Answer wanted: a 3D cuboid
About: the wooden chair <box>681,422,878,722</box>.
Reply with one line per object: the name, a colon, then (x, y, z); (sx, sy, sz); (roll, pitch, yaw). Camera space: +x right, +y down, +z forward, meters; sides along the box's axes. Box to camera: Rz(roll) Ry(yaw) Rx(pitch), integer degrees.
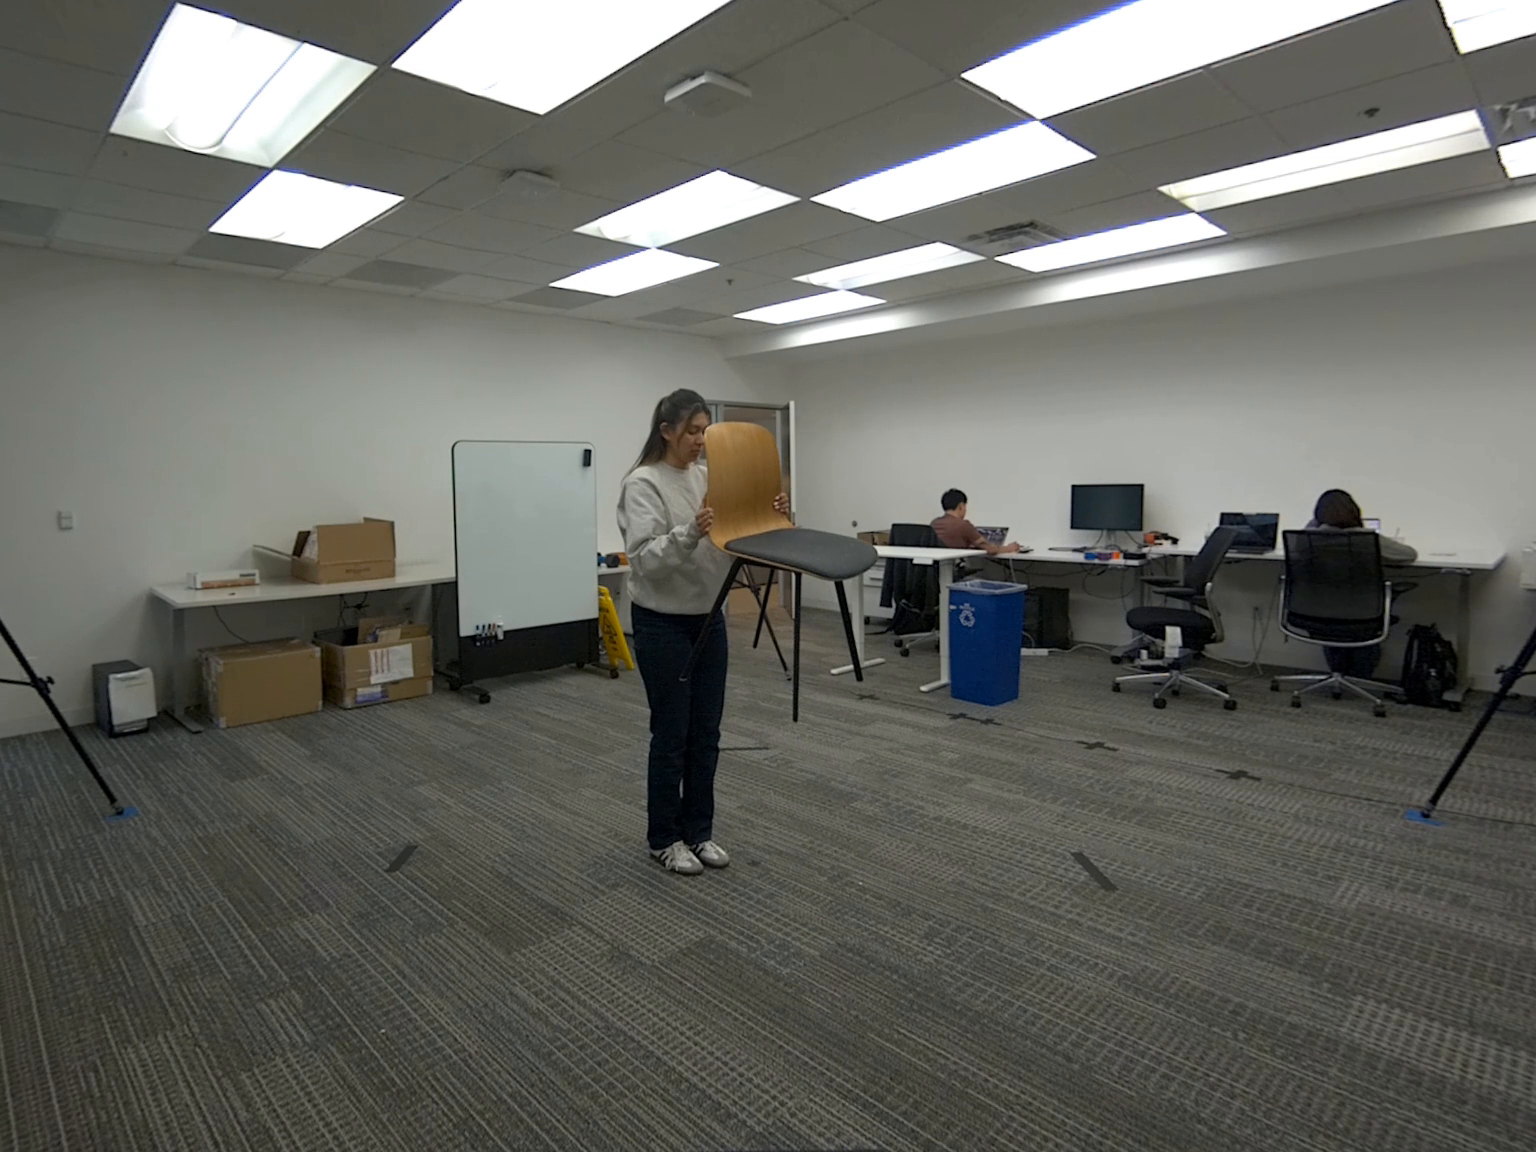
wooden chair: (0.066, -0.049, 2.801); (0.539, 0.869, 0.468); (9, 12, 33)
